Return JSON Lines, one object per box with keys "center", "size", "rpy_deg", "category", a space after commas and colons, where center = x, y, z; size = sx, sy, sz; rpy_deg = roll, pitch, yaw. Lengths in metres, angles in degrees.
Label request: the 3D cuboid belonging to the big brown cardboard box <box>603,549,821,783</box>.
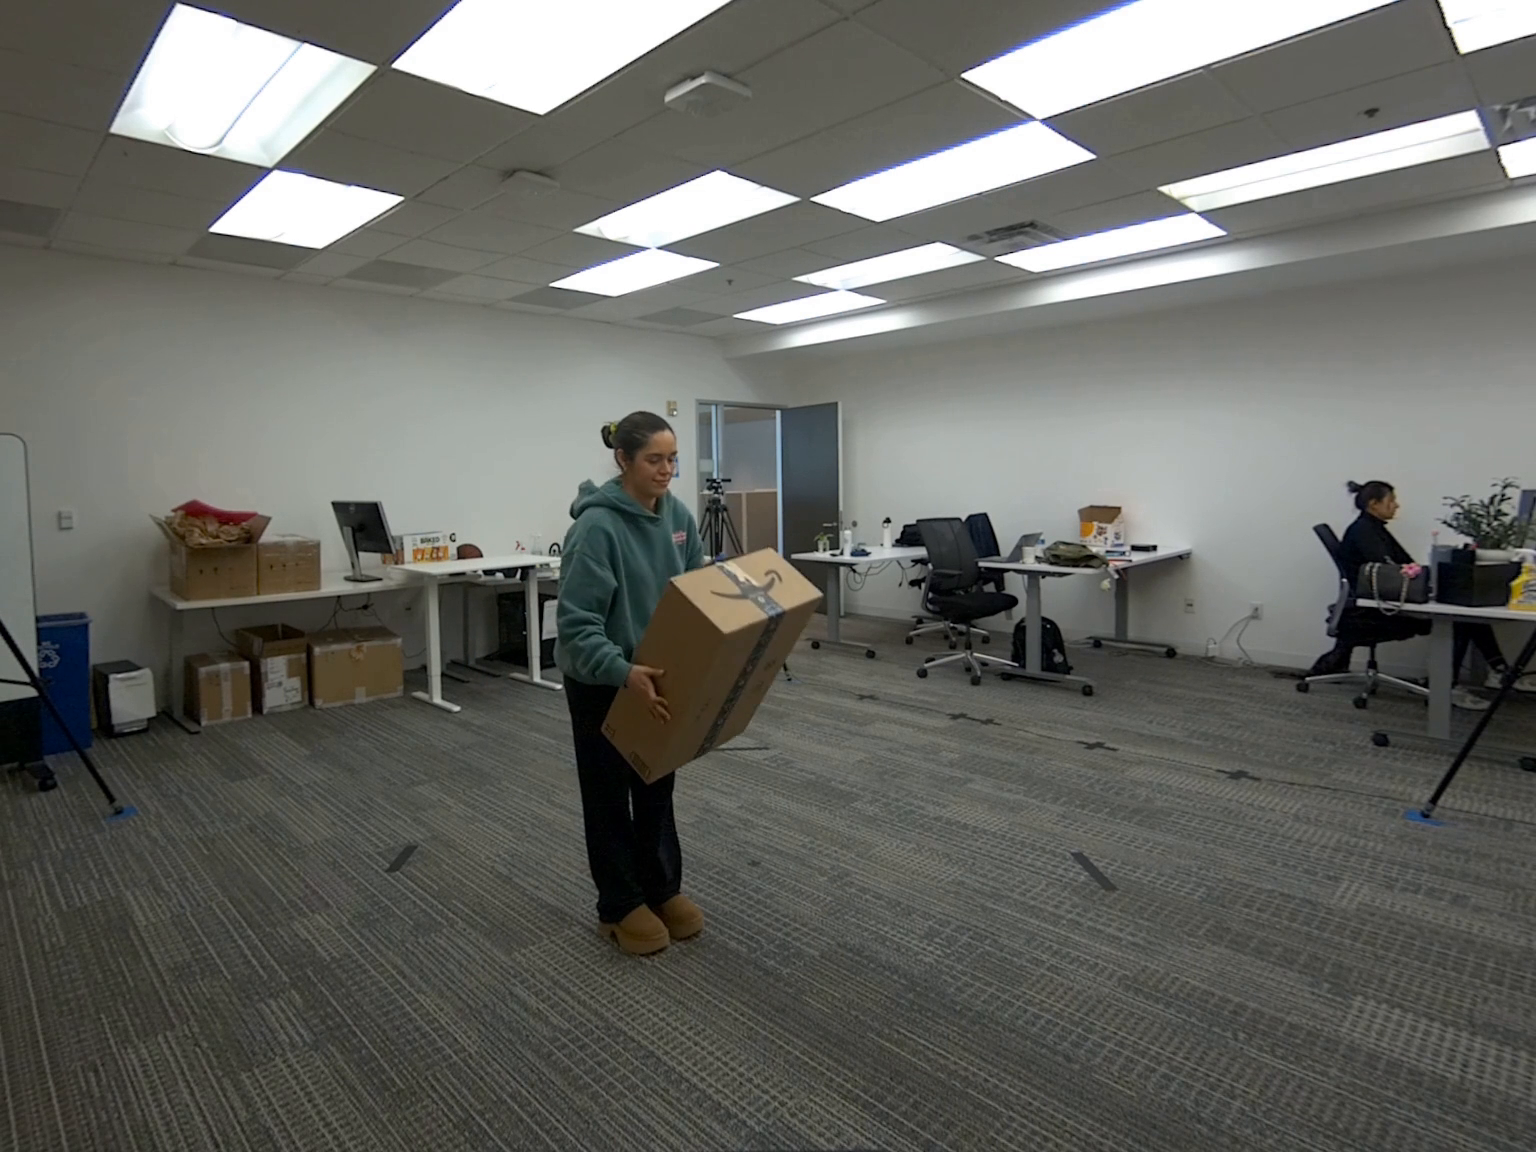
{"center": [-0.168, 0.252, 2.363], "size": [0.240, 0.583, 0.409], "rpy_deg": [43, 34, 23], "category": "big brown cardboard box"}
